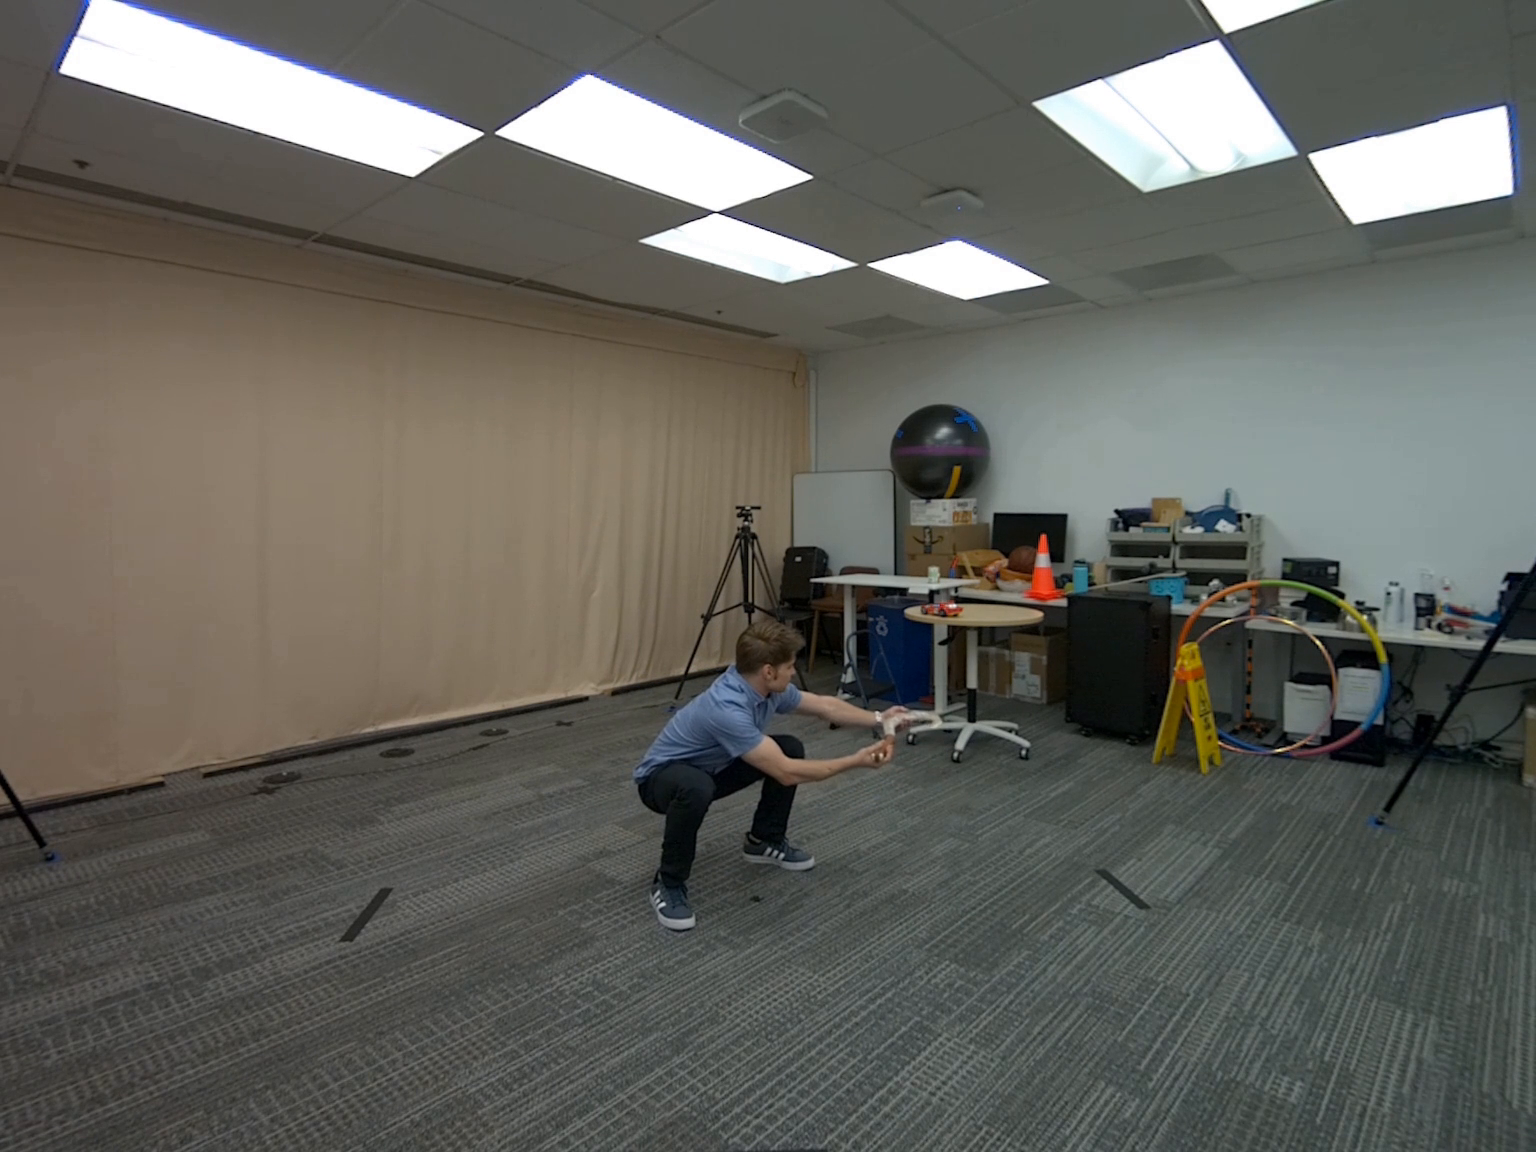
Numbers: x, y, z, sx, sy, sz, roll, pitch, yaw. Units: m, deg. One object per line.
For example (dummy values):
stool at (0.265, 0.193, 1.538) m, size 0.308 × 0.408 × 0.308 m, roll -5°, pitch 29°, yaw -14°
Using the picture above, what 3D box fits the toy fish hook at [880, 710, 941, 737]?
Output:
toy fish hook at (0.525, 0.595, 3.121) m, size 0.229 × 0.048 × 0.499 m, roll -10°, pitch 8°, yaw 21°
